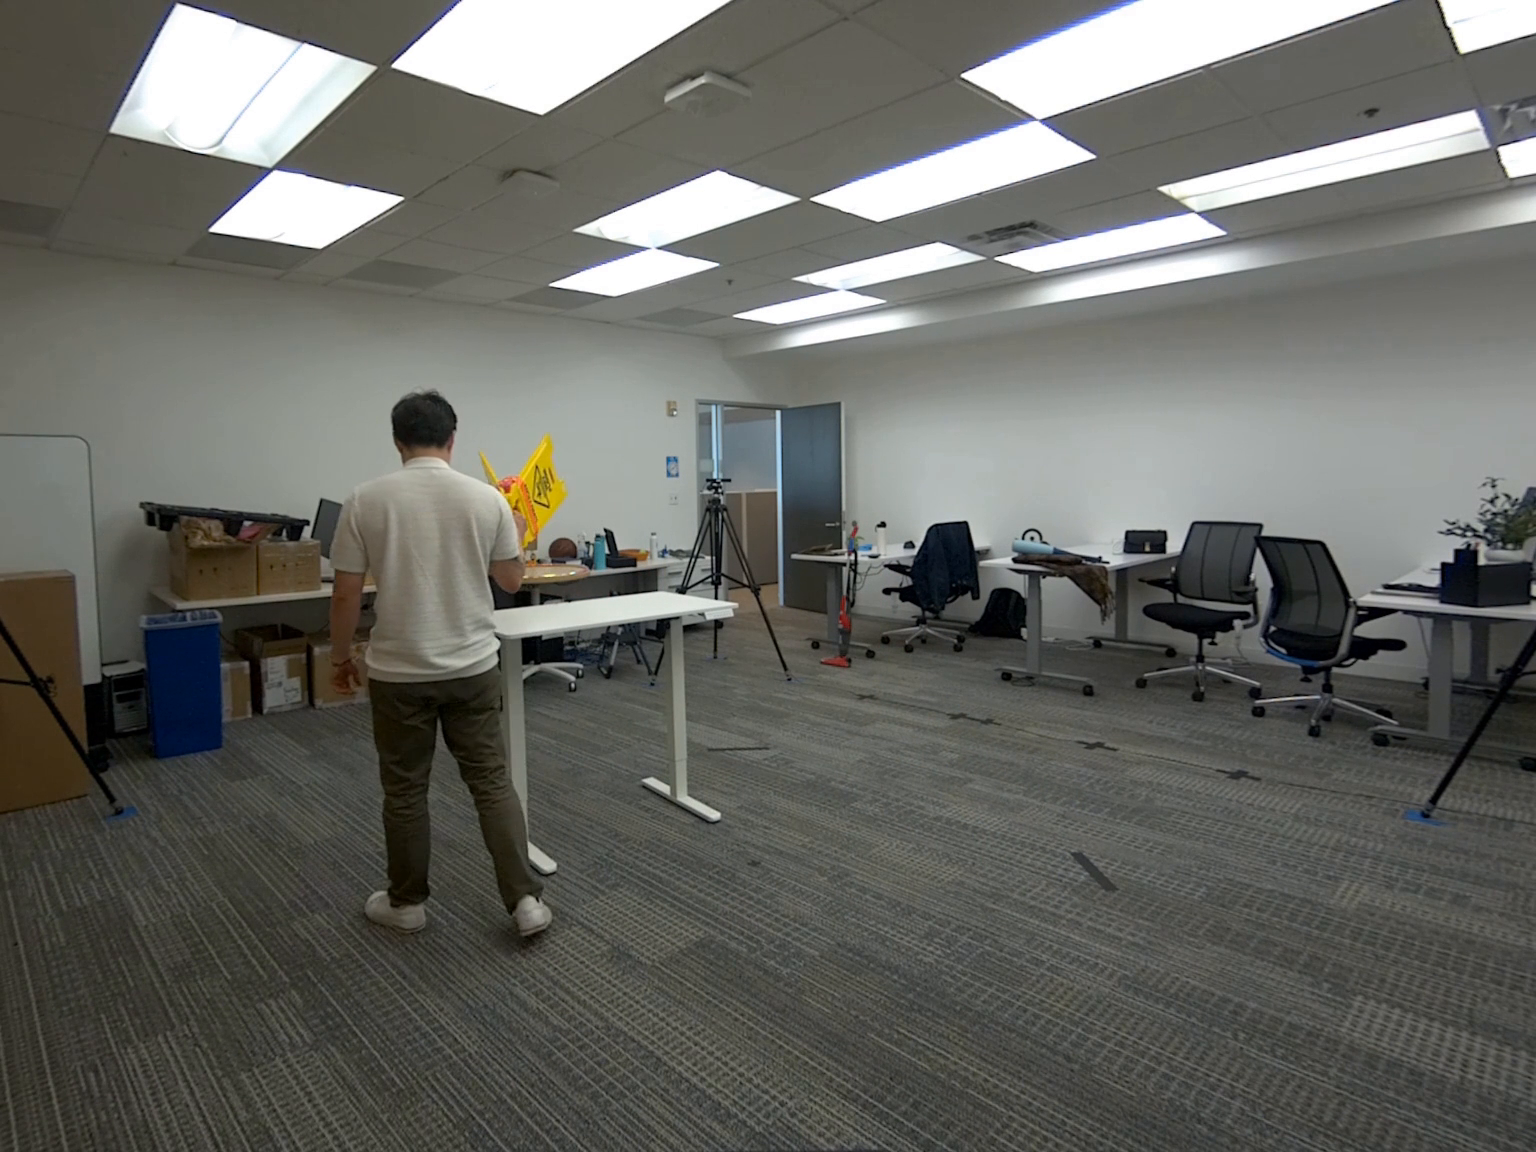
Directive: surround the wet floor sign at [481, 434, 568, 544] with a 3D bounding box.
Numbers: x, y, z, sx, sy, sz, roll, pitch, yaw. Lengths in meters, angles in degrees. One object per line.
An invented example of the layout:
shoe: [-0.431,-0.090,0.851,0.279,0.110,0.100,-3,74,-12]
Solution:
wet floor sign: [-0.943,-0.303,3.264,0.288,0.275,0.664,-16,25,-6]
